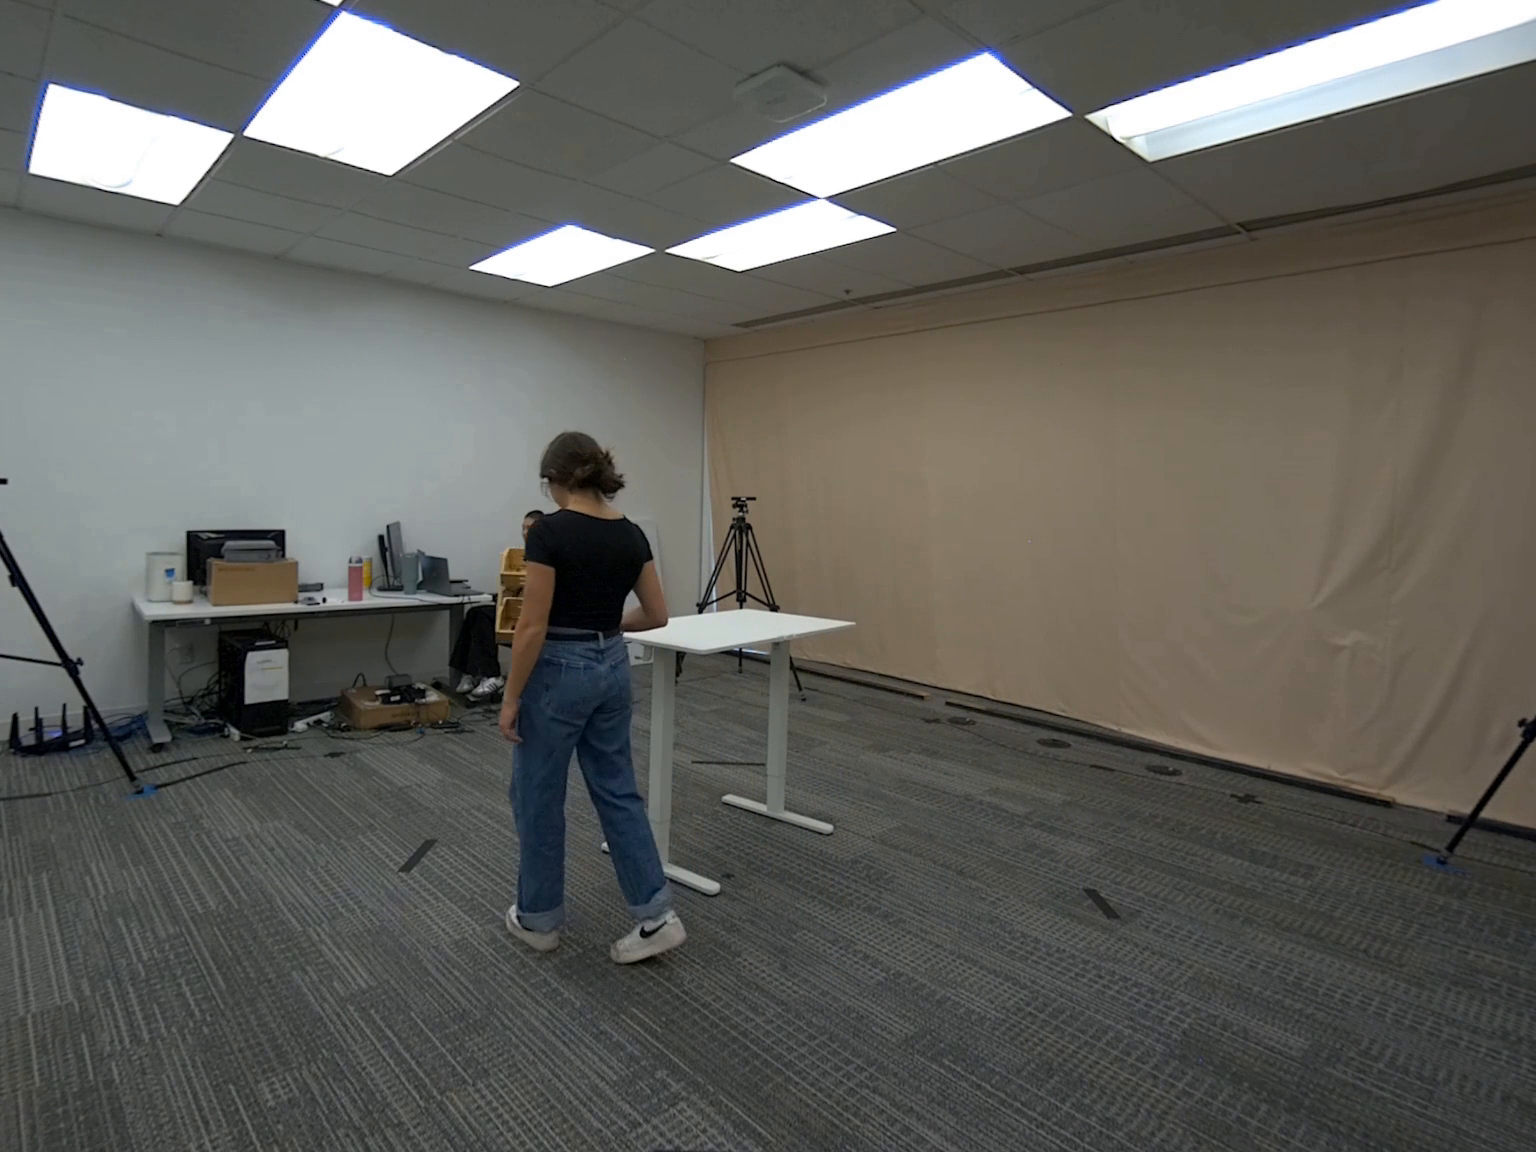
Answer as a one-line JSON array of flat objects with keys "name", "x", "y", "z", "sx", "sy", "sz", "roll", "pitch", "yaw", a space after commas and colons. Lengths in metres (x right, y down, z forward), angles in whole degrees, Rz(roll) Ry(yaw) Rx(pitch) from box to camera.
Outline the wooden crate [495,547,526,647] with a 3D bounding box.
[{"name": "wooden crate", "x": -0.758, "y": 0.073, "z": 2.822, "sx": 0.323, "sy": 0.271, "sz": 0.306, "roll": 4, "pitch": 12, "yaw": -7}]
